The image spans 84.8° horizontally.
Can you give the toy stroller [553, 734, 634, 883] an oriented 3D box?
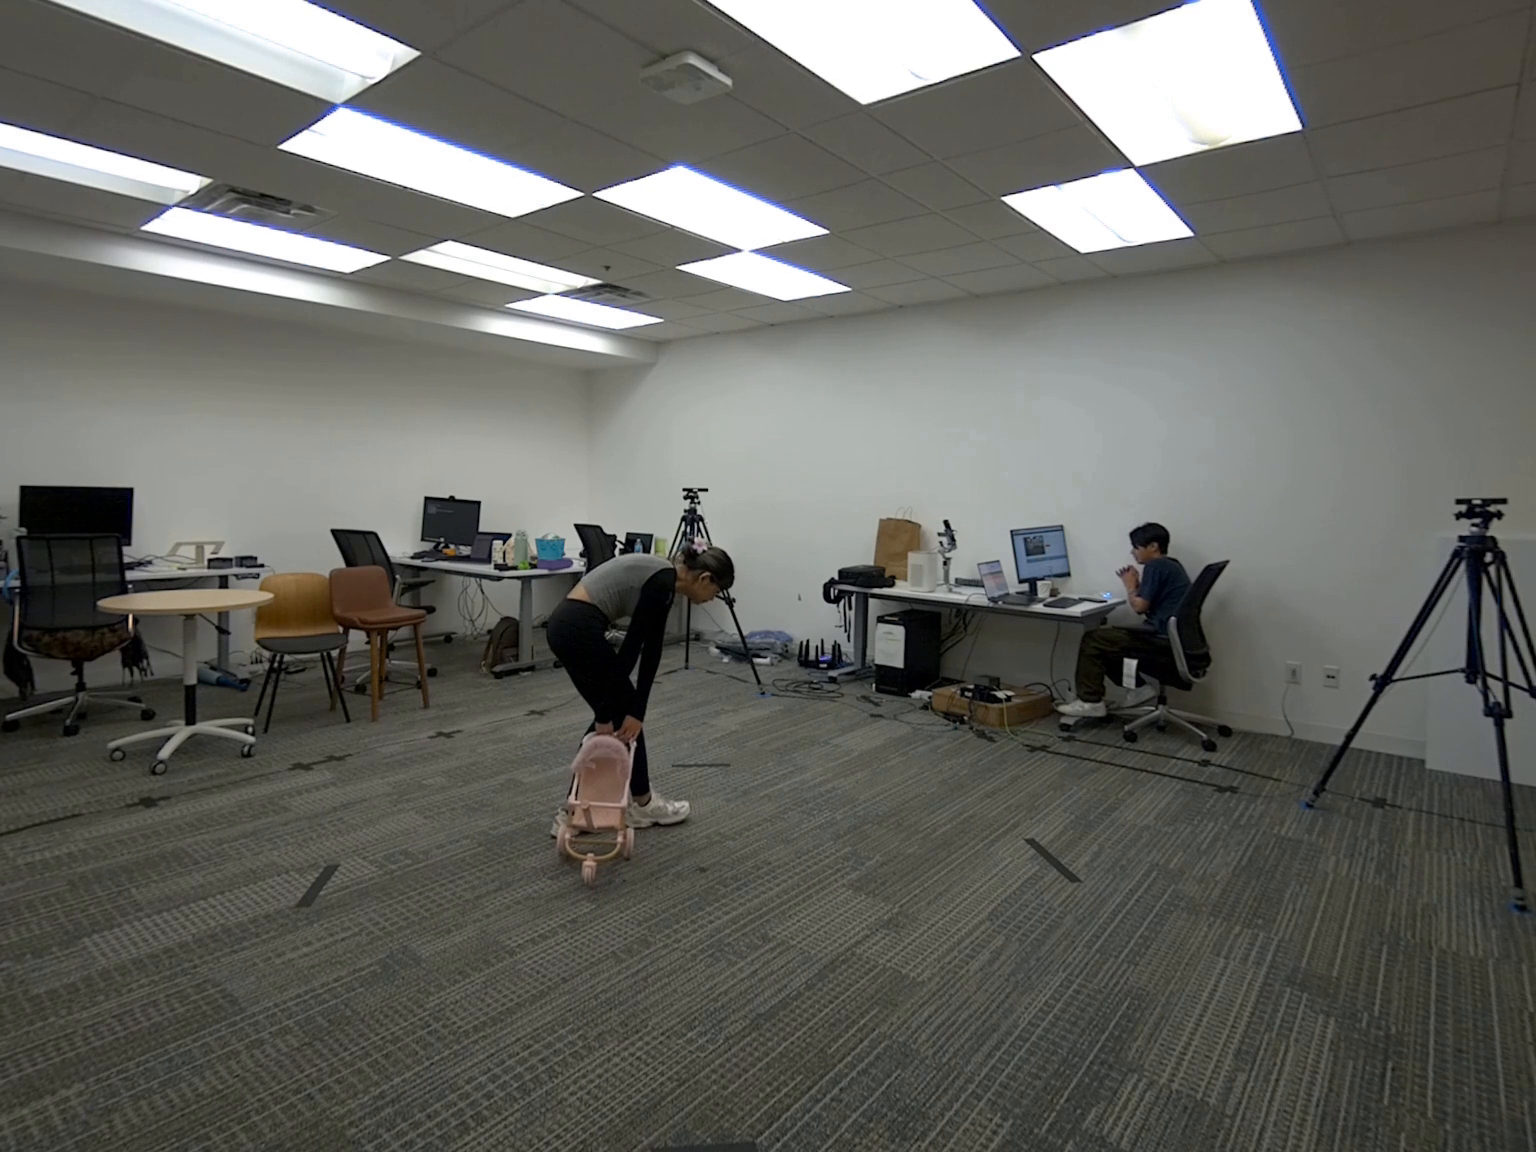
[{"bbox_3d":[-0.636,0.830,3.130,0.281,0.542,0.337,3,-14,-1],"label":"toy stroller"}]
